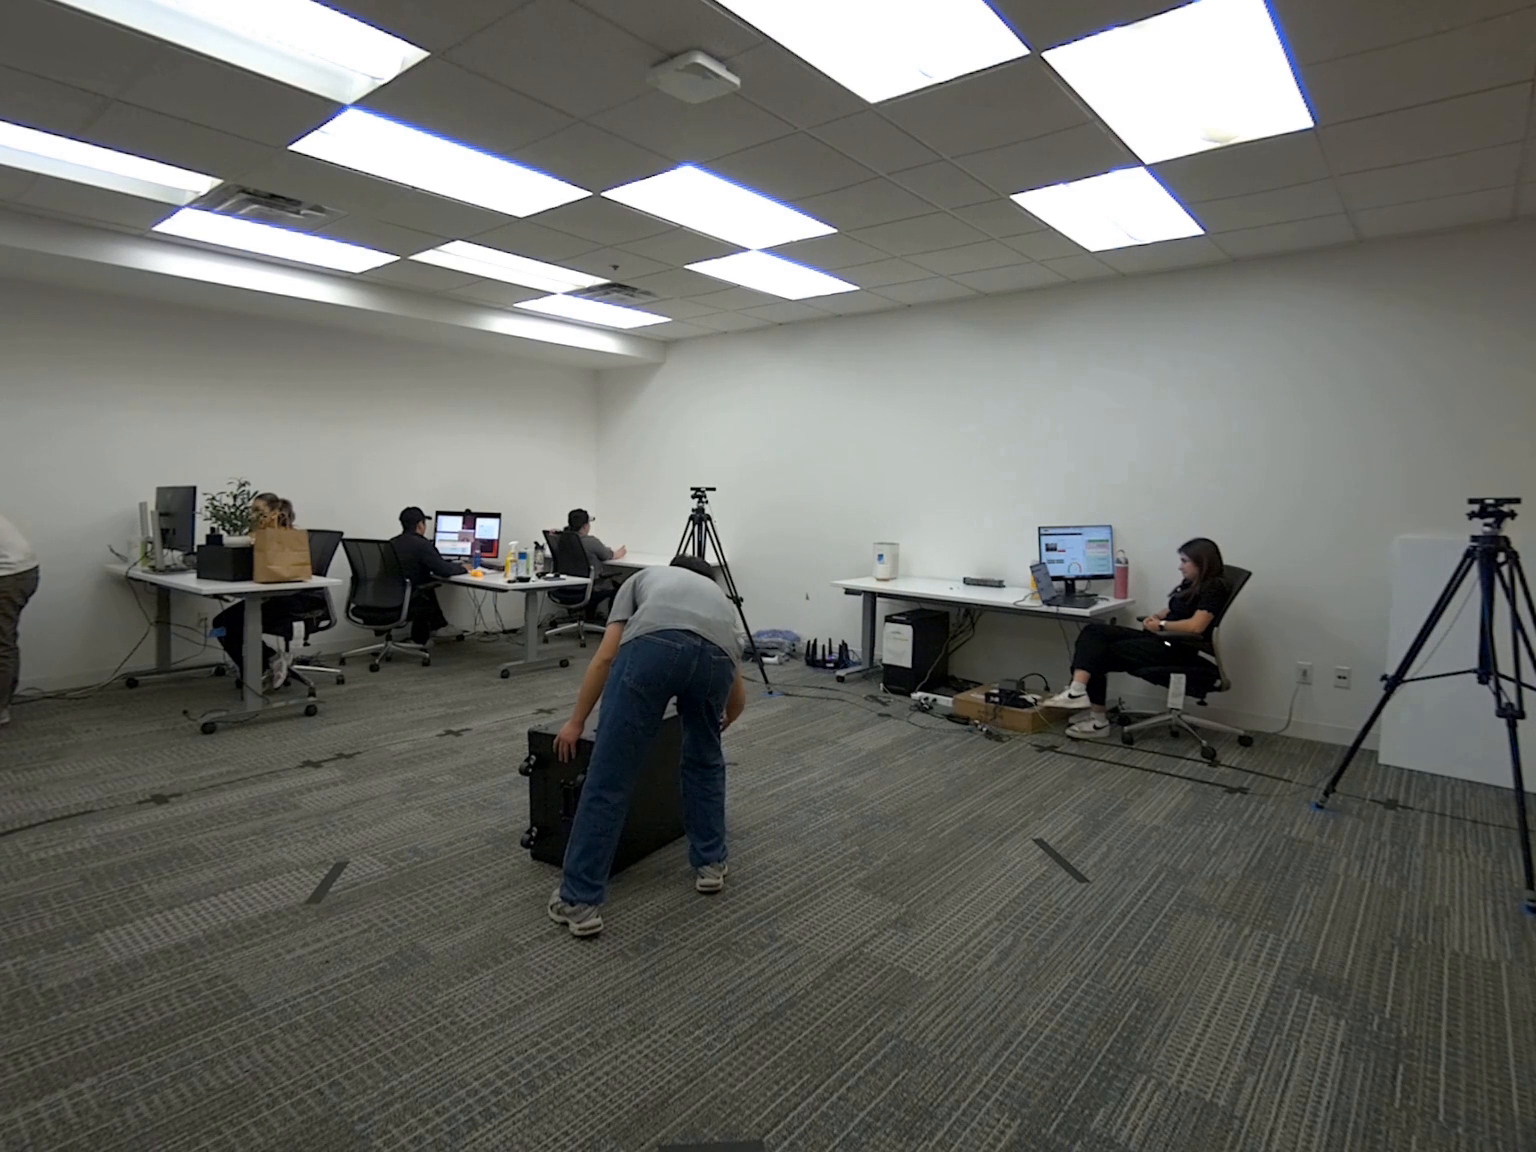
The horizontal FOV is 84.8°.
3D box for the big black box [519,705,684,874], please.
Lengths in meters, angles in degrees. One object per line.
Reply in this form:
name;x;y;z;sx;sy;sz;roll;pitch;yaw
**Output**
big black box;-0.583;0.778;3.364;0.407;0.520;0.839;0;4;30
